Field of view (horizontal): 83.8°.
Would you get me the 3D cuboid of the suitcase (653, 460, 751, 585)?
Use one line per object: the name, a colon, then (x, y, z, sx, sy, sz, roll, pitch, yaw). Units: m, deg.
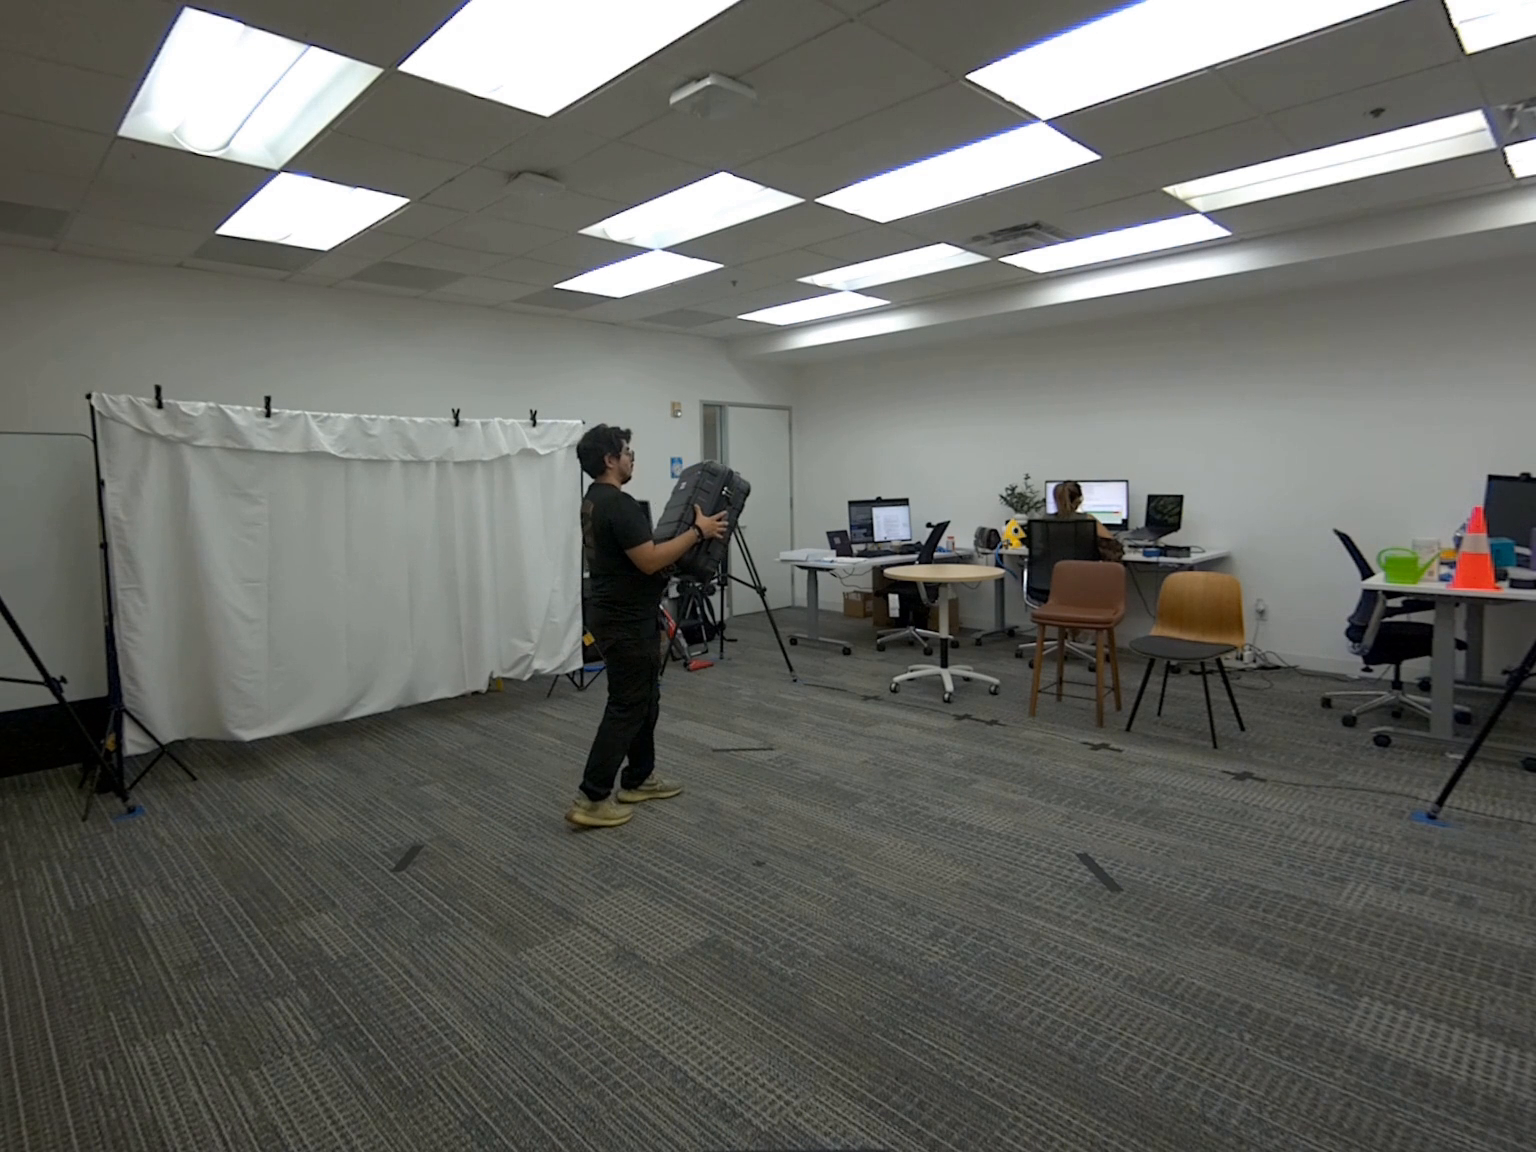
suitcase: (-0.317, -0.226, 3.730, 0.242, 0.552, 0.383, 27, -11, -21)
